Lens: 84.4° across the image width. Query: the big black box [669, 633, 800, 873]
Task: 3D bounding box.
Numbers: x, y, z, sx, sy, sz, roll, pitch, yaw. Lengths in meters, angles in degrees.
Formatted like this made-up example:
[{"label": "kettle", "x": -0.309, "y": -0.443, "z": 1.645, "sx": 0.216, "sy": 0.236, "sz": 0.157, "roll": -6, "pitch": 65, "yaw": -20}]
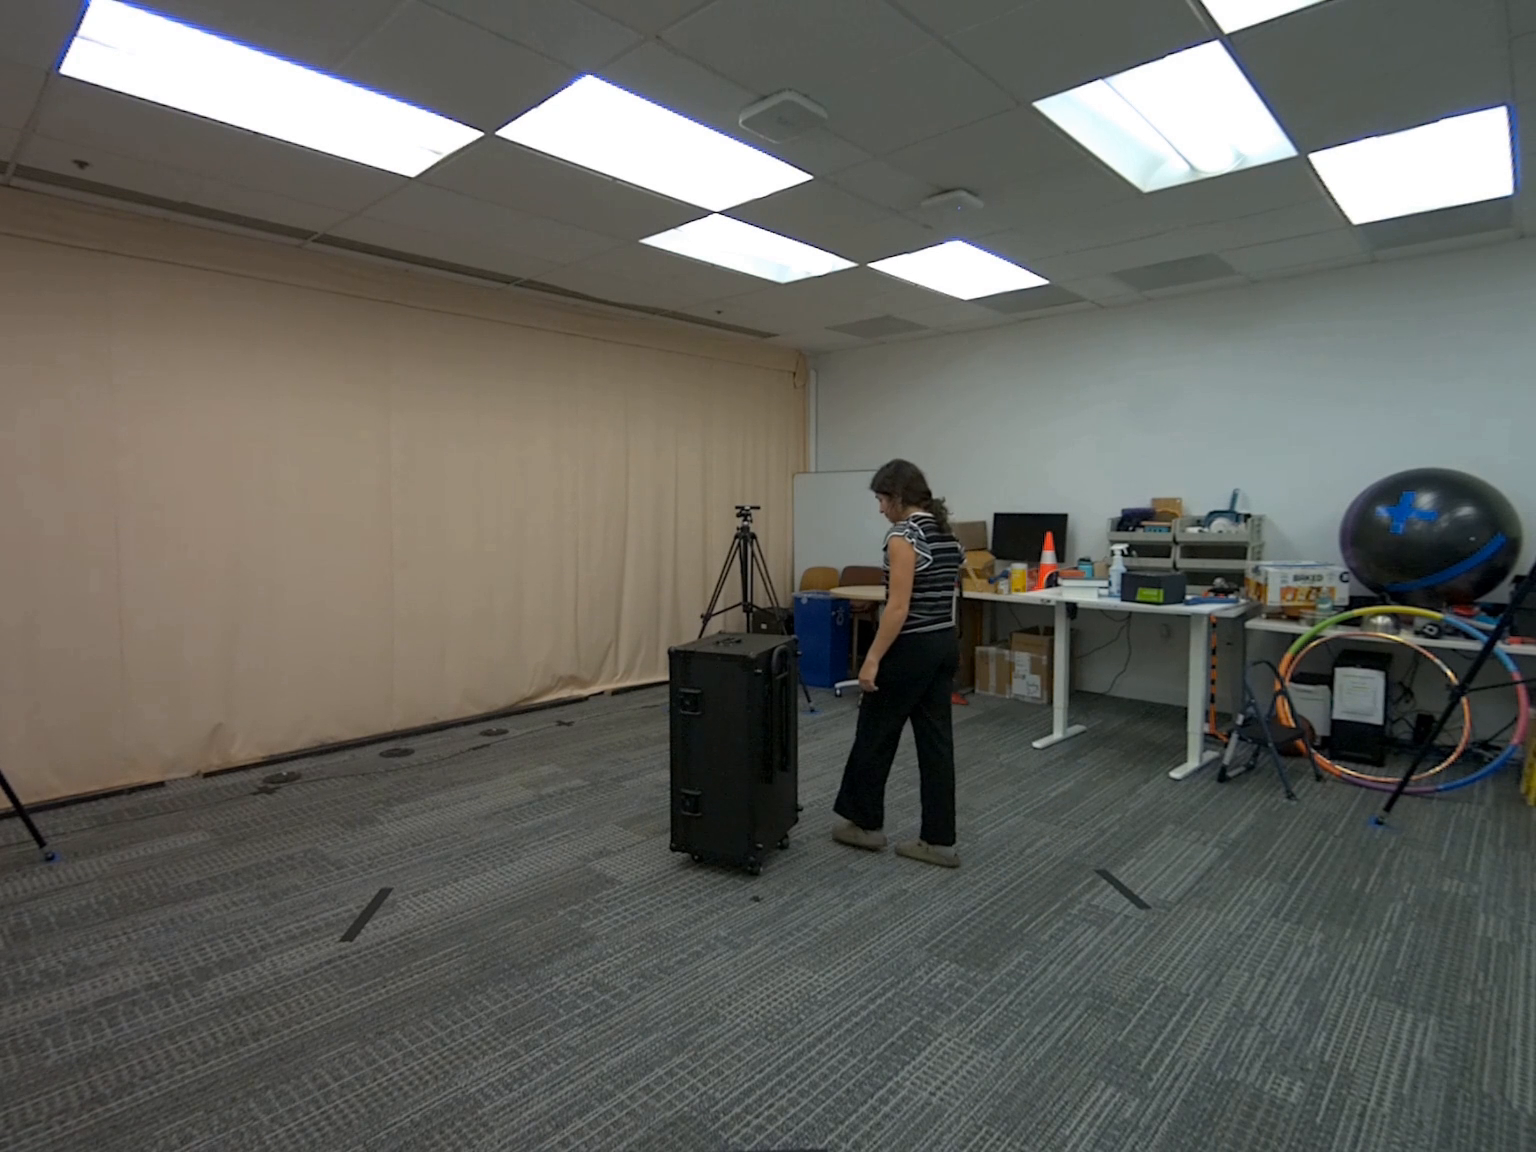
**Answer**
[{"label": "big black box", "x": -0.111, "y": 0.688, "z": 3.359, "sx": 0.406, "sy": 0.860, "sz": 0.509, "roll": 2, "pitch": 3, "yaw": 23}]
